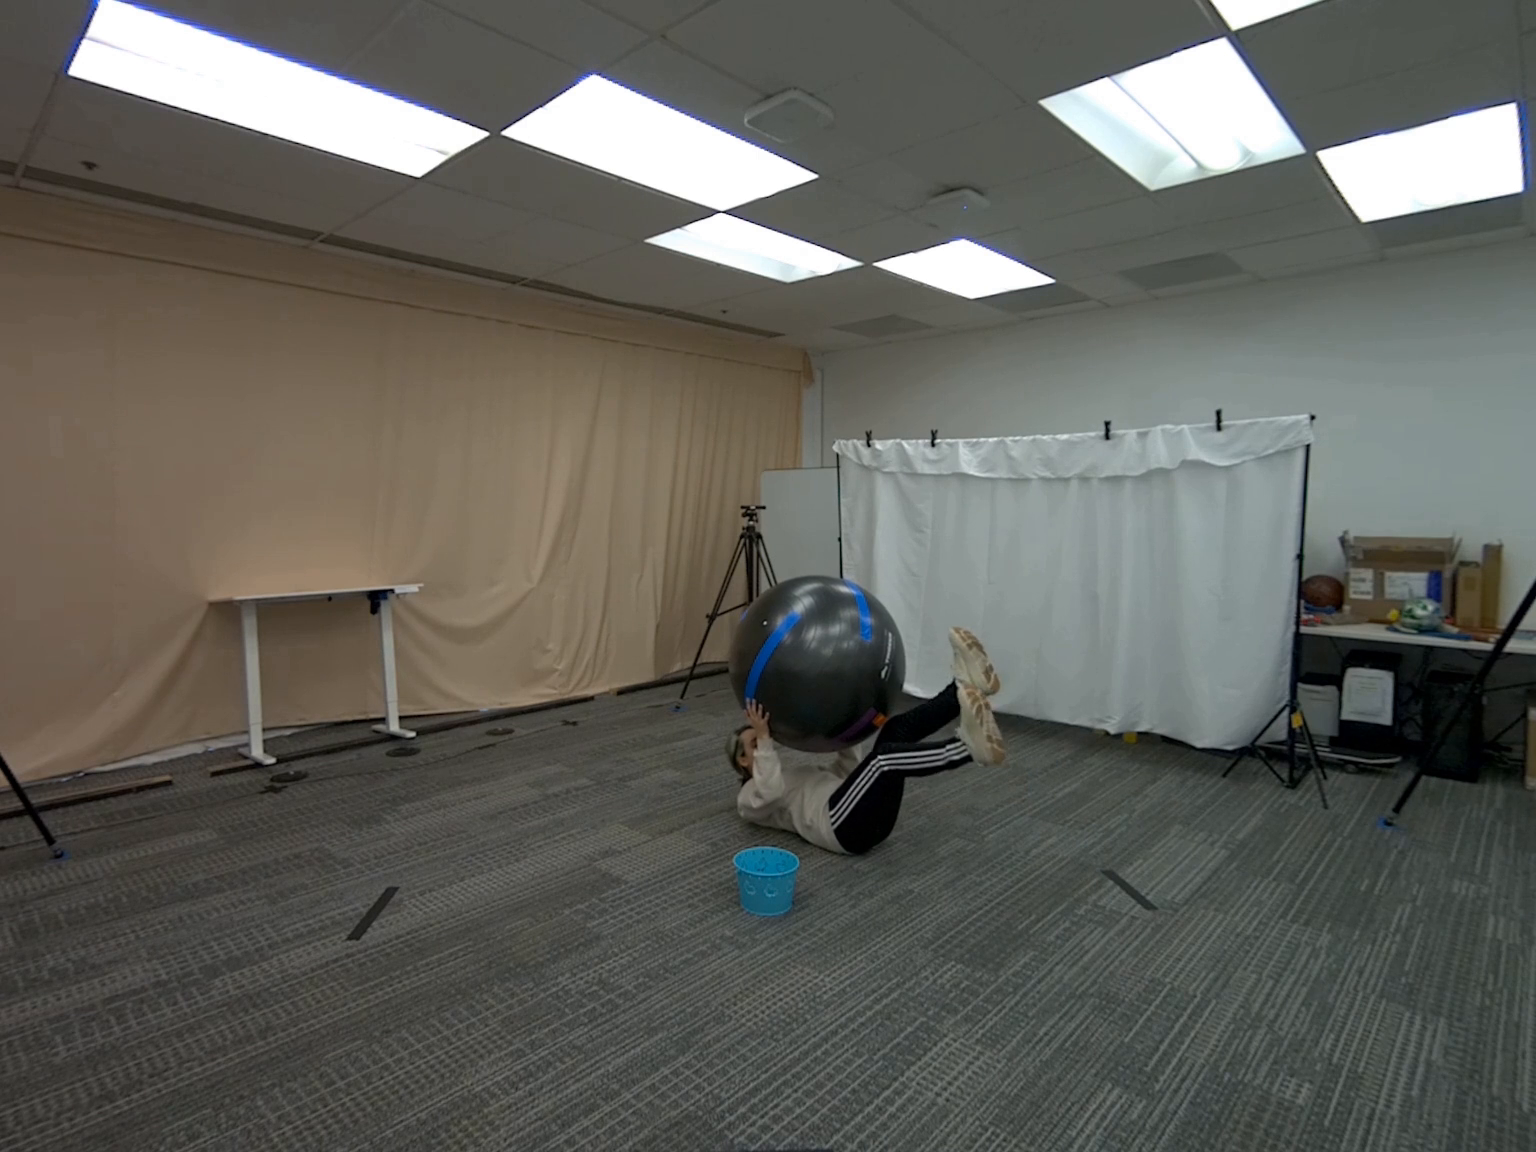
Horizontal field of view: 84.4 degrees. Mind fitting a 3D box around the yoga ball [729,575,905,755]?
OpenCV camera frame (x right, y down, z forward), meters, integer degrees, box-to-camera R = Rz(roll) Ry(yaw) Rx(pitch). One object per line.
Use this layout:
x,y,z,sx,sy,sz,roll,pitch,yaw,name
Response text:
0.208,0.373,3.637,0.757,0.756,0.760,0,4,-2,yoga ball
